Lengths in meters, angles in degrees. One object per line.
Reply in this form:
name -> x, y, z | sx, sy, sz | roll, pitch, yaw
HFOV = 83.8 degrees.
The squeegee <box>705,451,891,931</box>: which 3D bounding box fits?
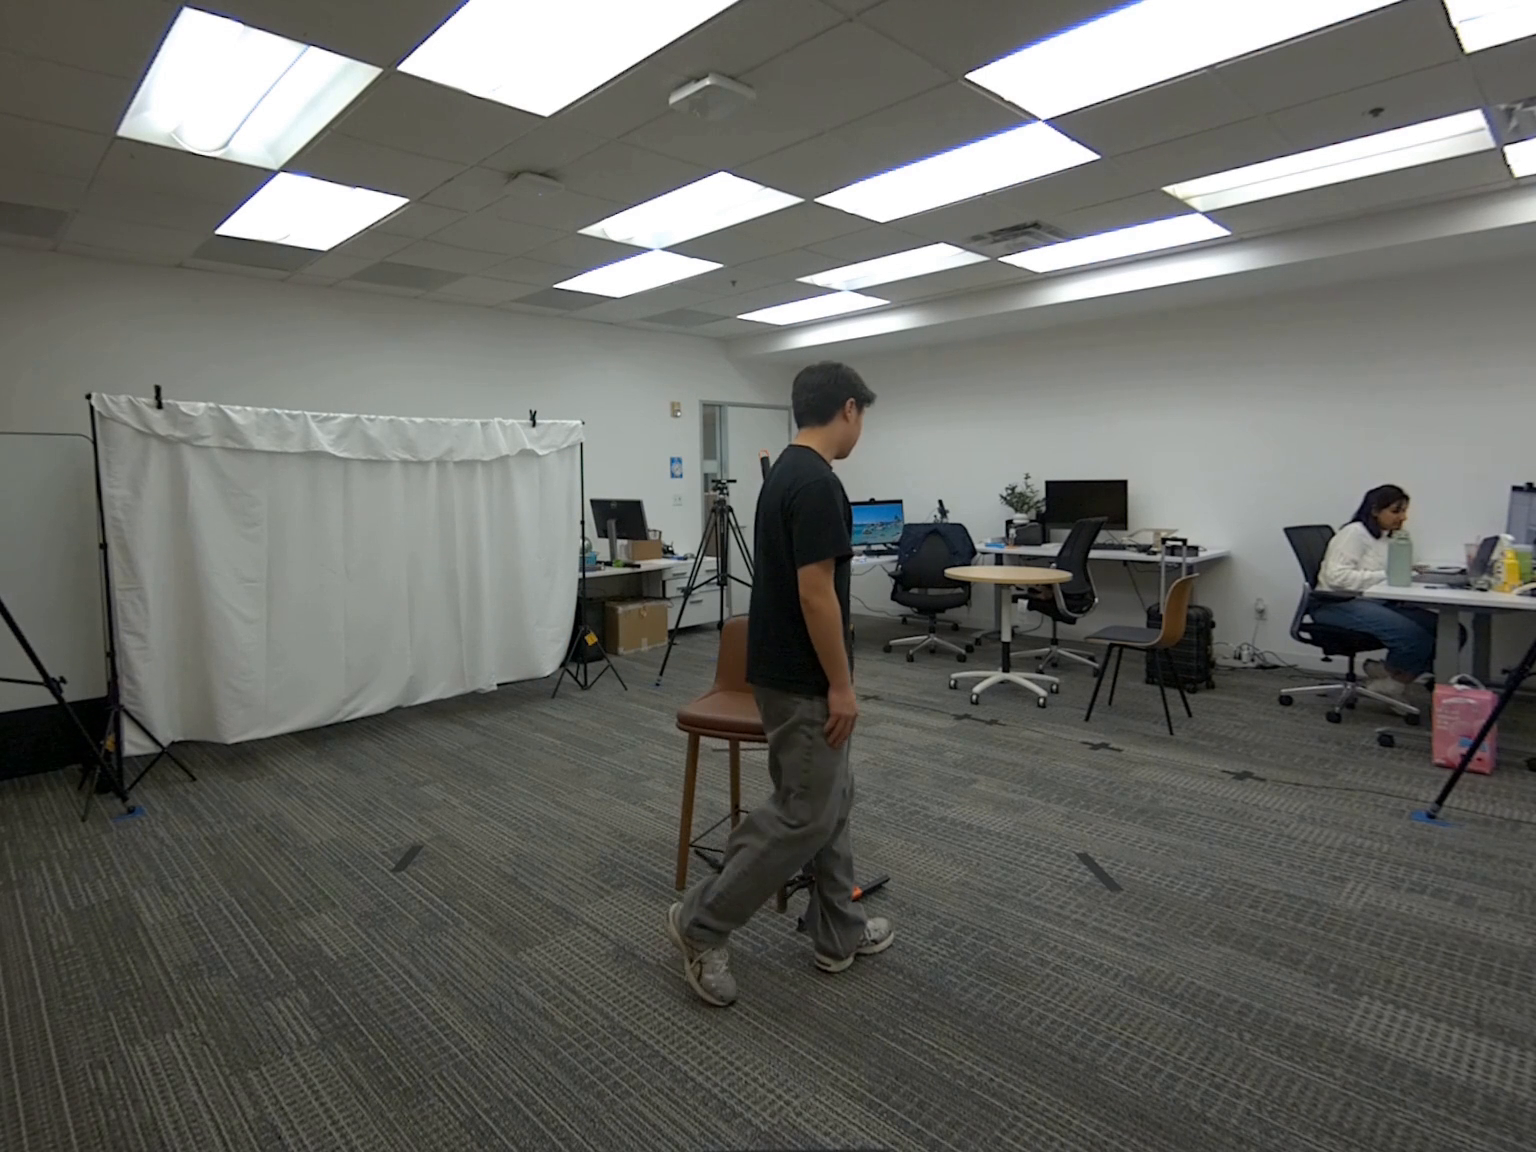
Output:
squeegee -> 0.127, 0.322, 2.872 | 0.425, 1.553, 0.054 | -2, -12, -41
